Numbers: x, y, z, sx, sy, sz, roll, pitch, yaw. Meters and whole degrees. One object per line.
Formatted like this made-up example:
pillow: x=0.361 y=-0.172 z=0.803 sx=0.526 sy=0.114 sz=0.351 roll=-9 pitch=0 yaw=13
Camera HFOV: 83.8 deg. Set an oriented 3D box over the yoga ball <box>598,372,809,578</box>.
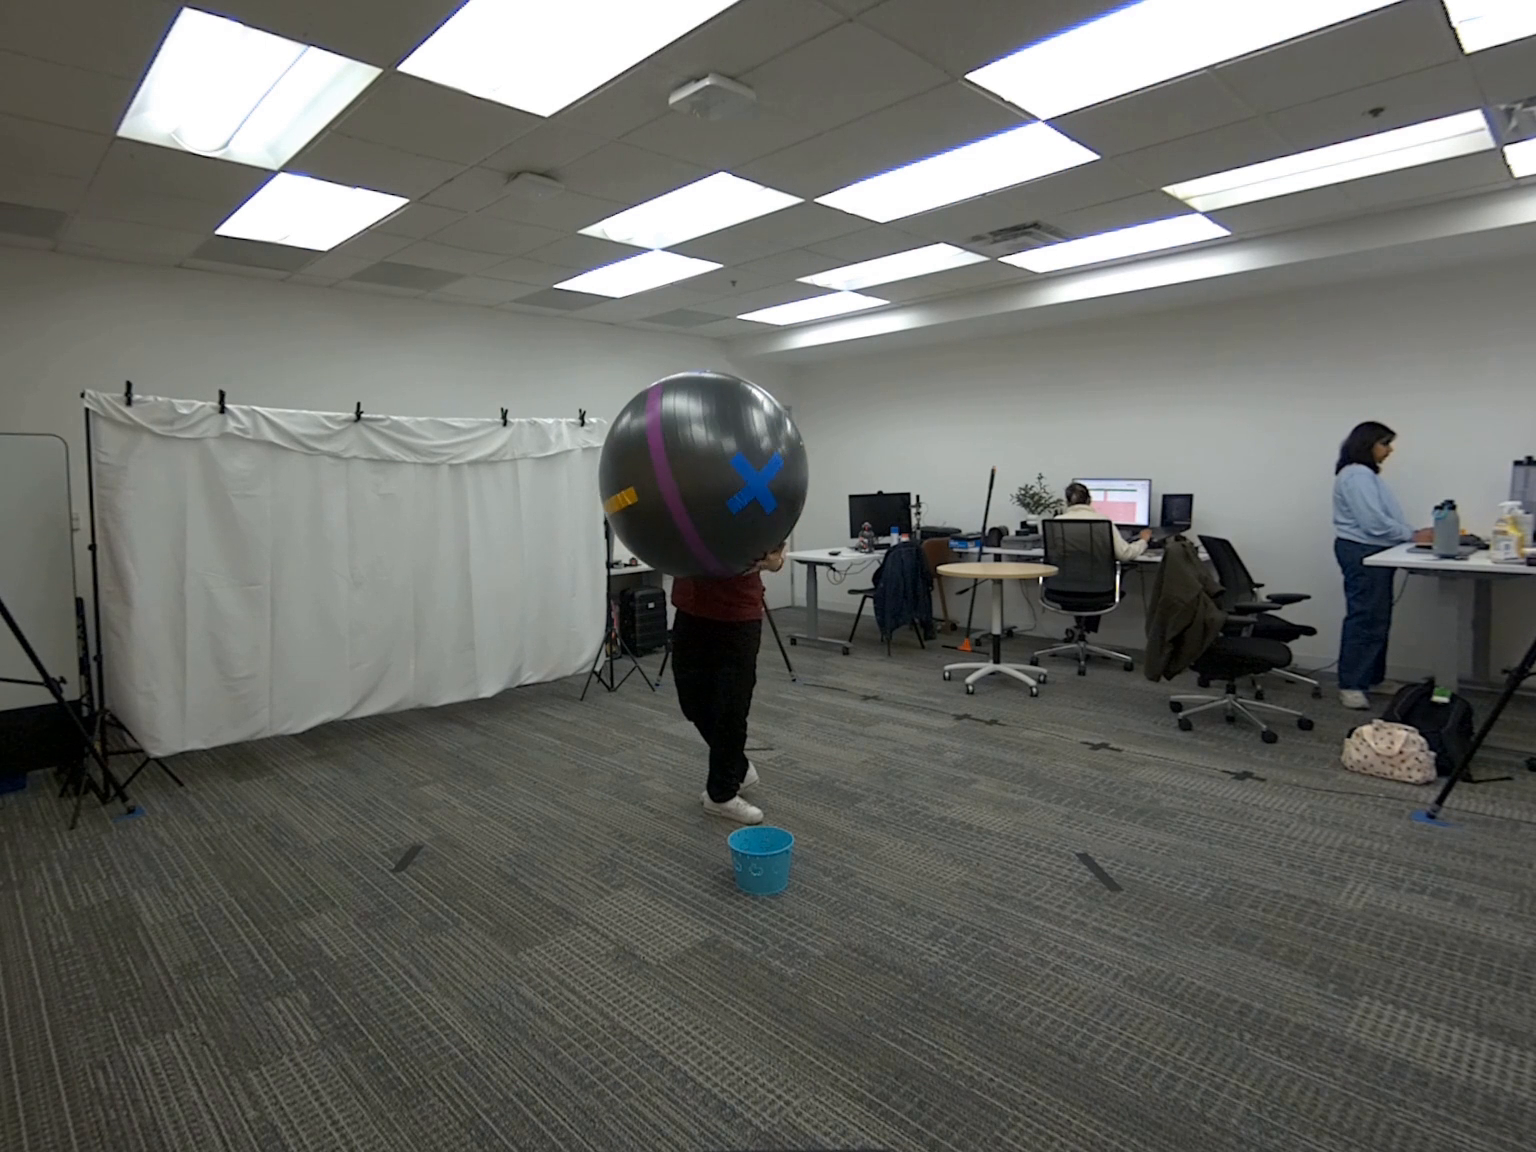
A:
yoga ball: x=-0.236 y=-0.360 z=3.109 sx=0.757 sy=0.755 sz=0.762 roll=-1 pitch=5 yaw=-2
